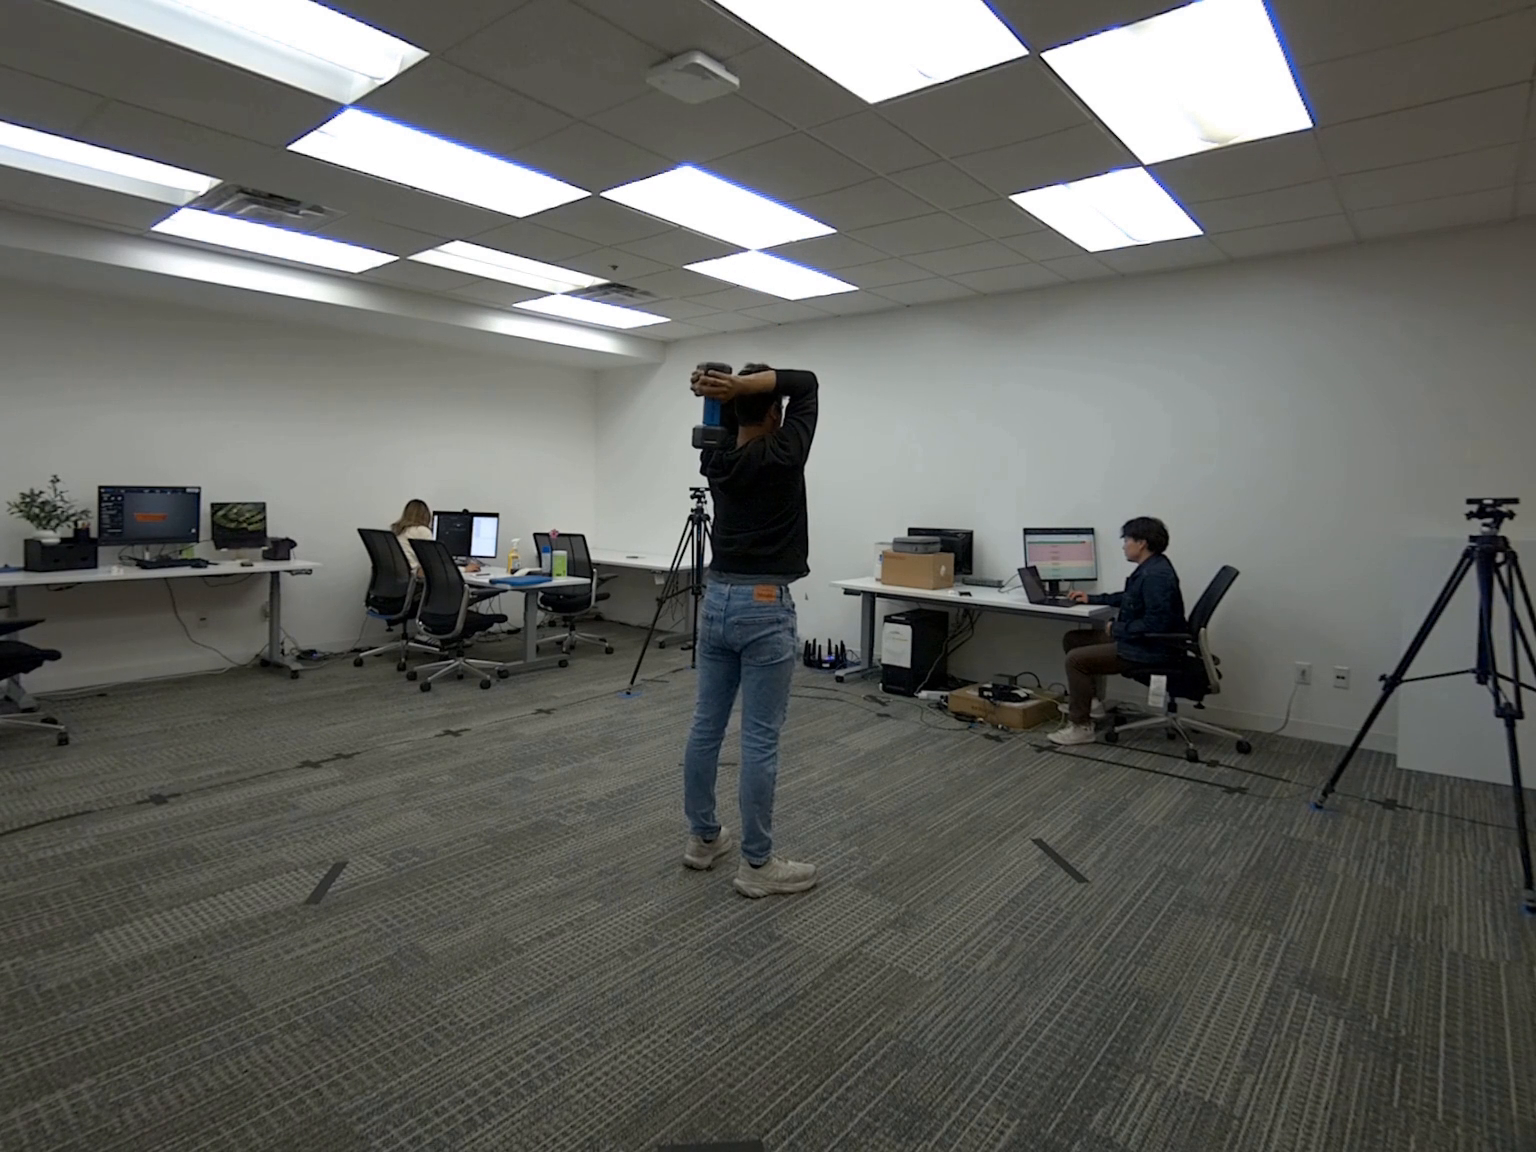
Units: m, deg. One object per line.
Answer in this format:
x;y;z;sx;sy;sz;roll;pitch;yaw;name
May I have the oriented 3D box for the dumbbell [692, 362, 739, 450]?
-0.194;-0.588;2.917;0.127;0.293;0.105;5;2;44;dumbbell
